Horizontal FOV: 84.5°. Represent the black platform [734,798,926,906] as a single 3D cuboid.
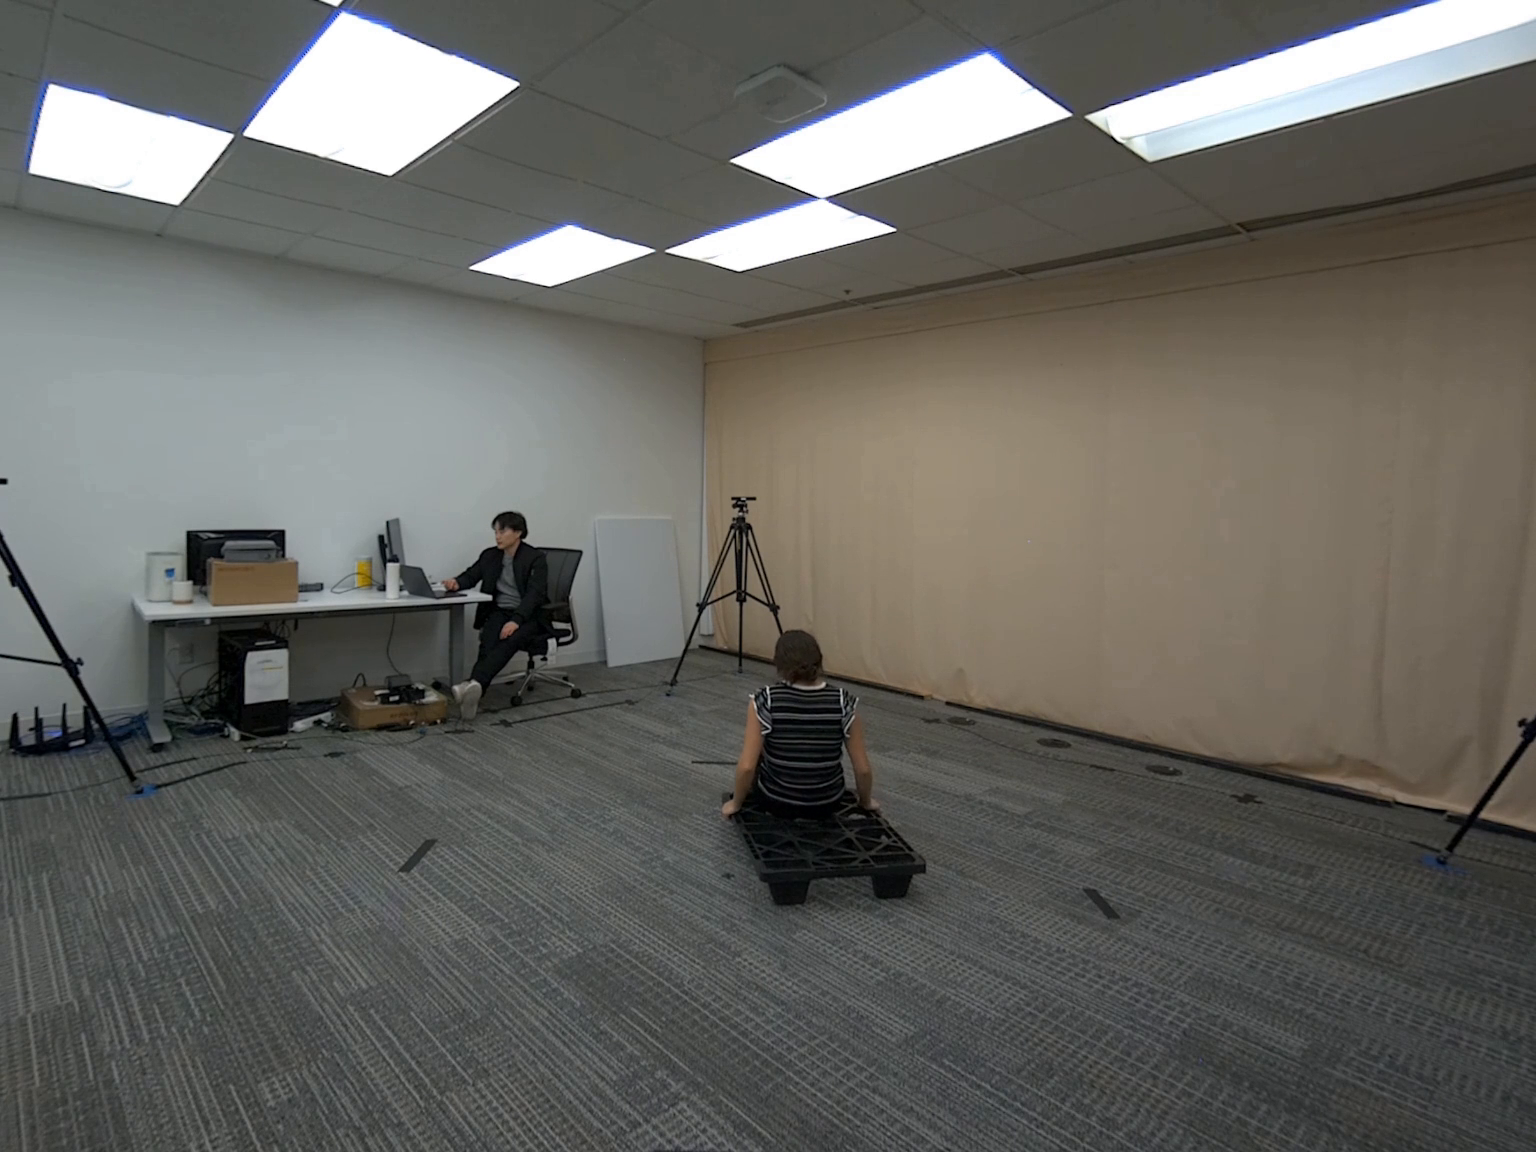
[{"bbox_3d":[0.169,1.030,3.275,0.600,0.143,0.814,1,4,-11],"label":"black platform"}]
